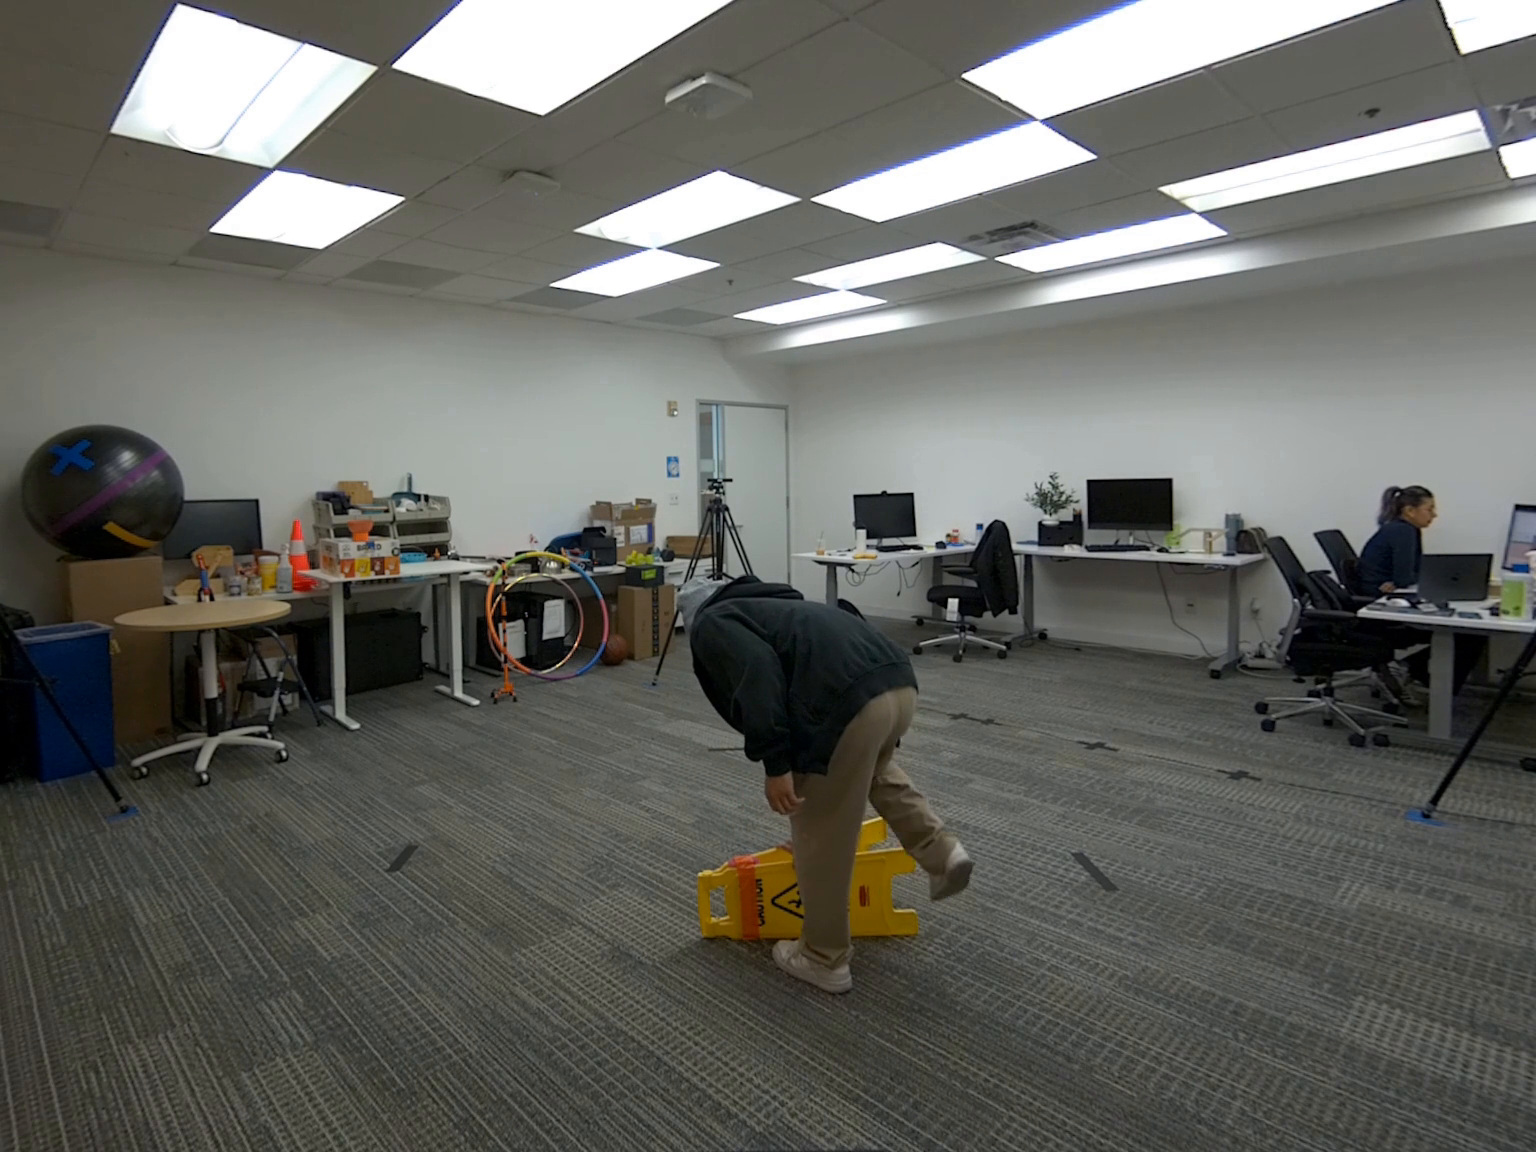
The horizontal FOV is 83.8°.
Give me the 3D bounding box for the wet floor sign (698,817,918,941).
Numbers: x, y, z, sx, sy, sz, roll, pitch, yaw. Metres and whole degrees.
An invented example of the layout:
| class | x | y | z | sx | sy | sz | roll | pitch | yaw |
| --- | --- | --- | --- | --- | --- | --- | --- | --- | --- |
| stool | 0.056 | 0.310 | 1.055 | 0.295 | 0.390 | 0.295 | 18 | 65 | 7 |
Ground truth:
| class | x | y | z | sx | sy | sz | roll | pitch | yaw |
| --- | --- | --- | --- | --- | --- | --- | --- | --- | --- |
| wet floor sign | 0.112 | 0.971 | 2.642 | 0.640 | 0.280 | 0.294 | -6 | 7 | -10 |
